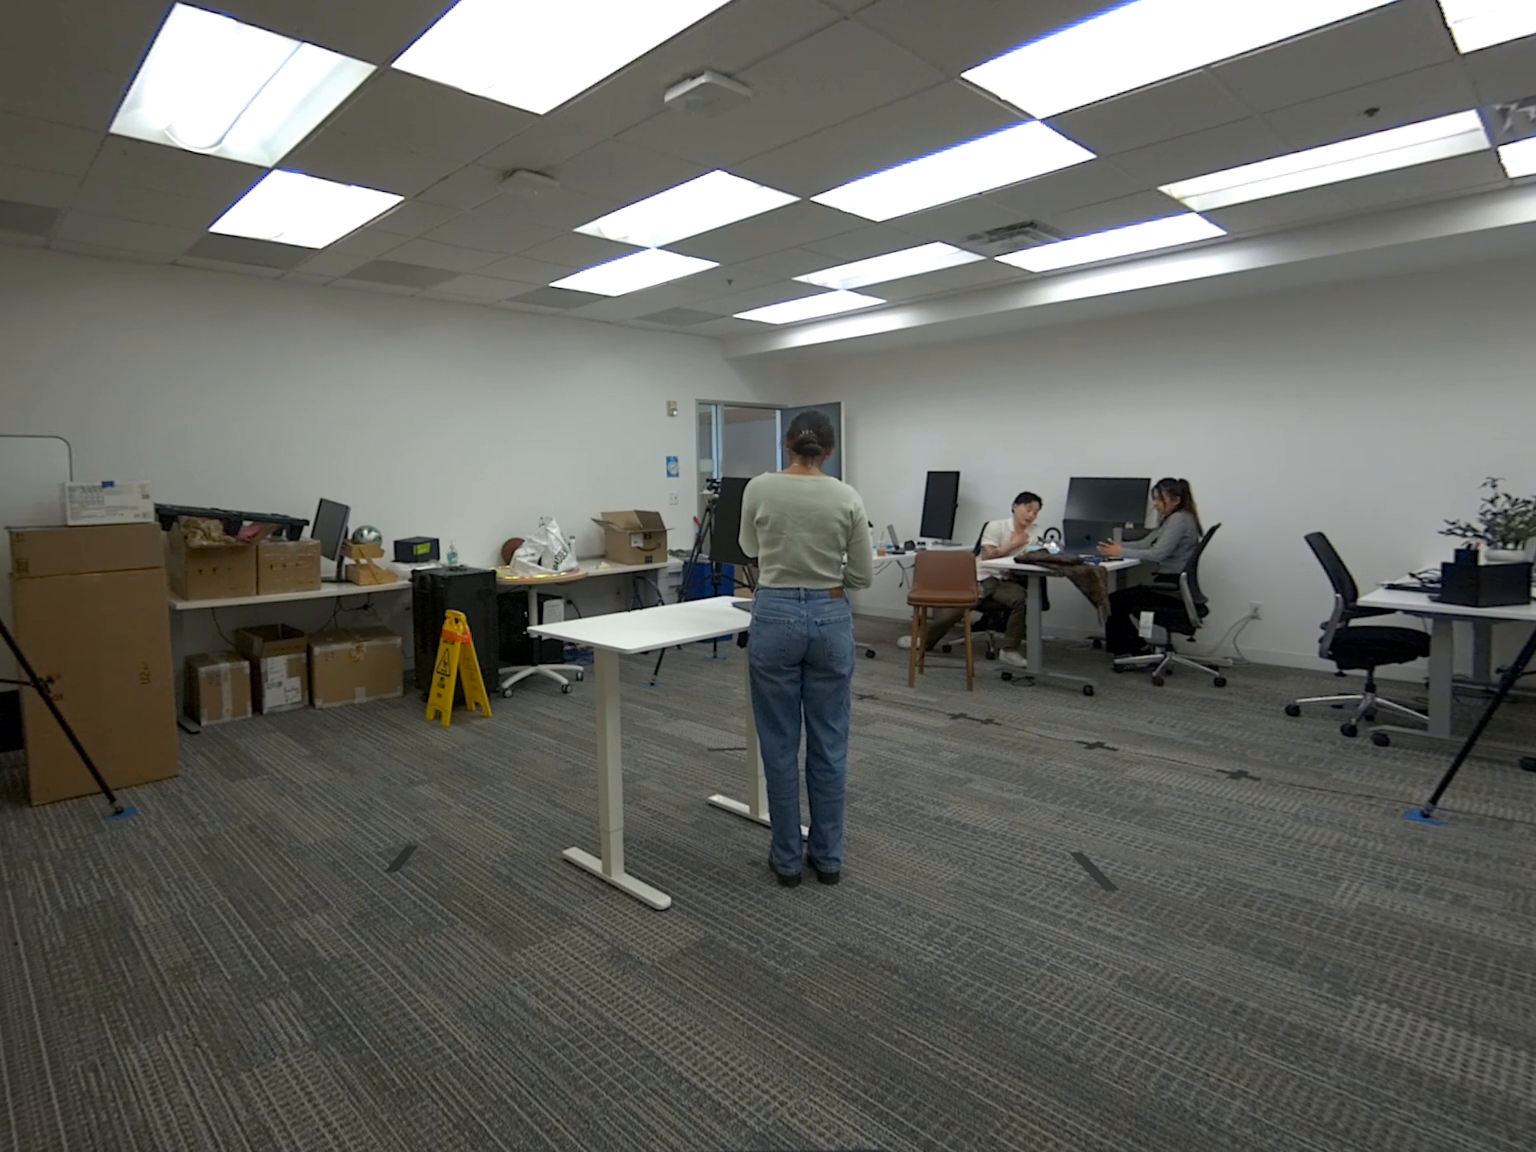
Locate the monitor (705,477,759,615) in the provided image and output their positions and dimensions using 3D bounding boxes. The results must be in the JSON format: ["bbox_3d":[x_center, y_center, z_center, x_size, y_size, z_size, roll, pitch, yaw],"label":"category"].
[{"bbox_3d":[-0.003,-0.123,3.361,0.182,0.520,0.556,-4,7,-42],"label":"monitor"}]
